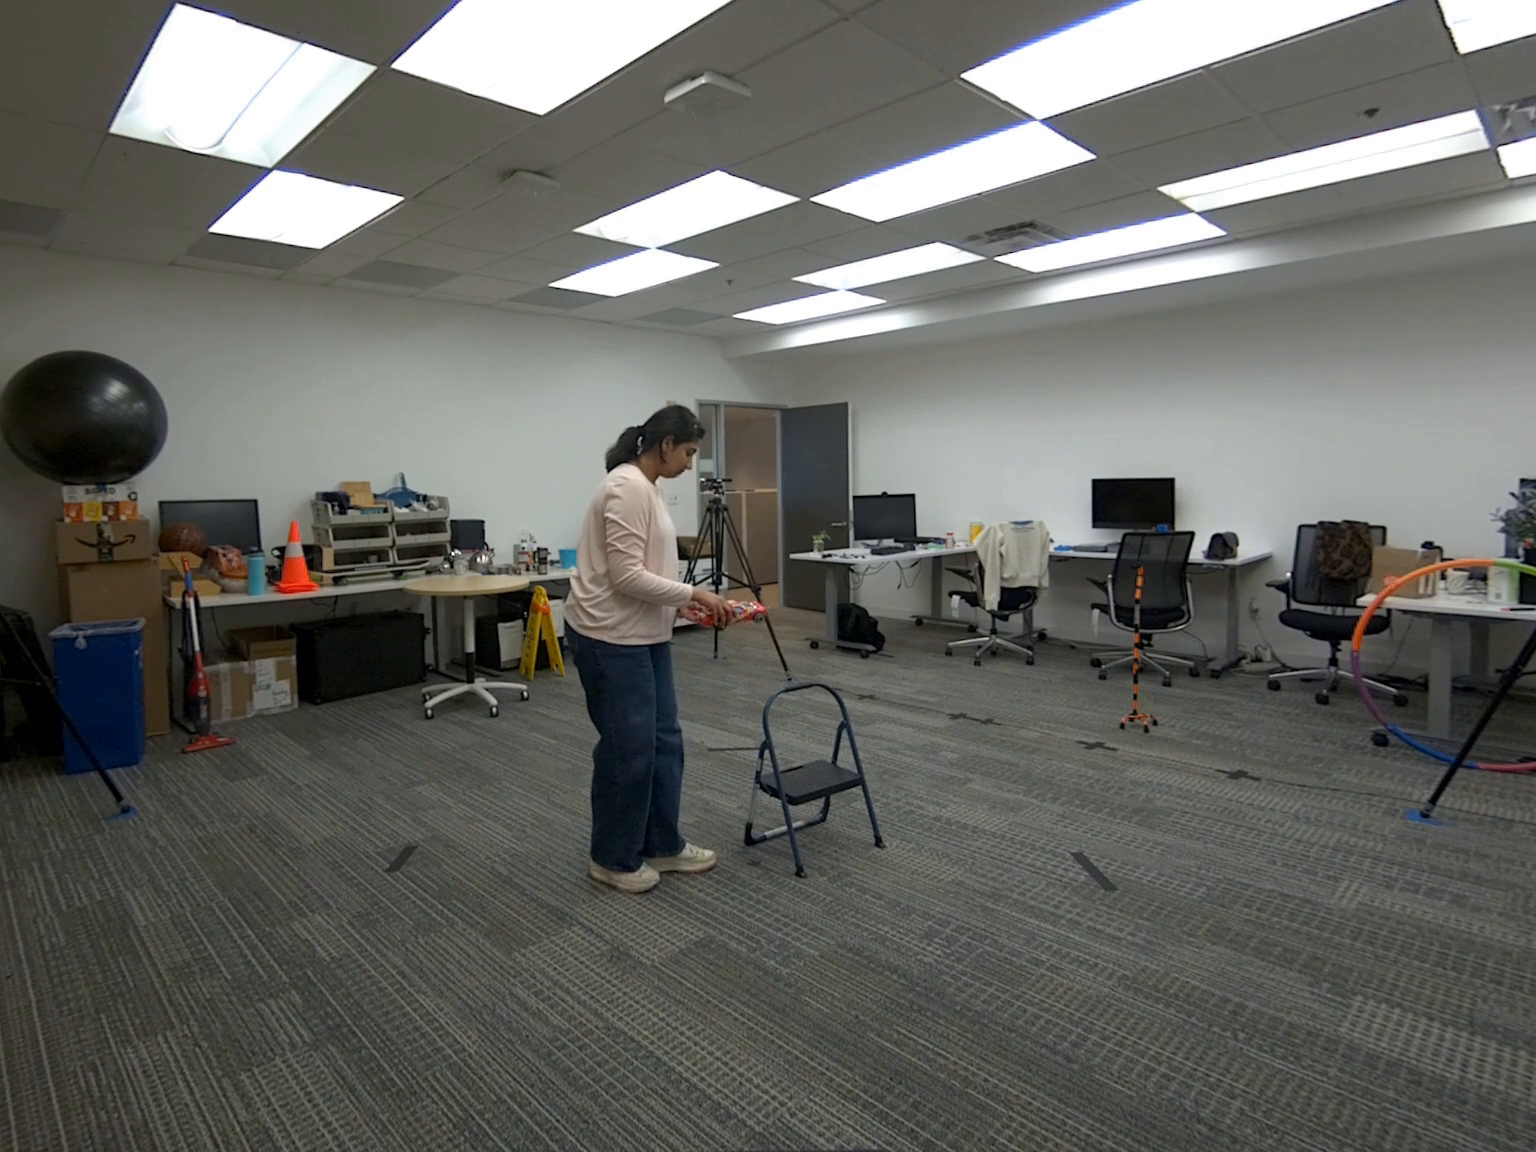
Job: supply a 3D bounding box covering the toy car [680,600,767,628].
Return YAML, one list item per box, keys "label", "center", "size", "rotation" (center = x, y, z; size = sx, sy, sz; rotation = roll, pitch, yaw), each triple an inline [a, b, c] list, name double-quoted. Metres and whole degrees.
- label: "toy car"
  center: [-0.145, 0.134, 2.961]
  size: [0.250, 0.082, 0.134]
  rotation: [0, 18, -21]
